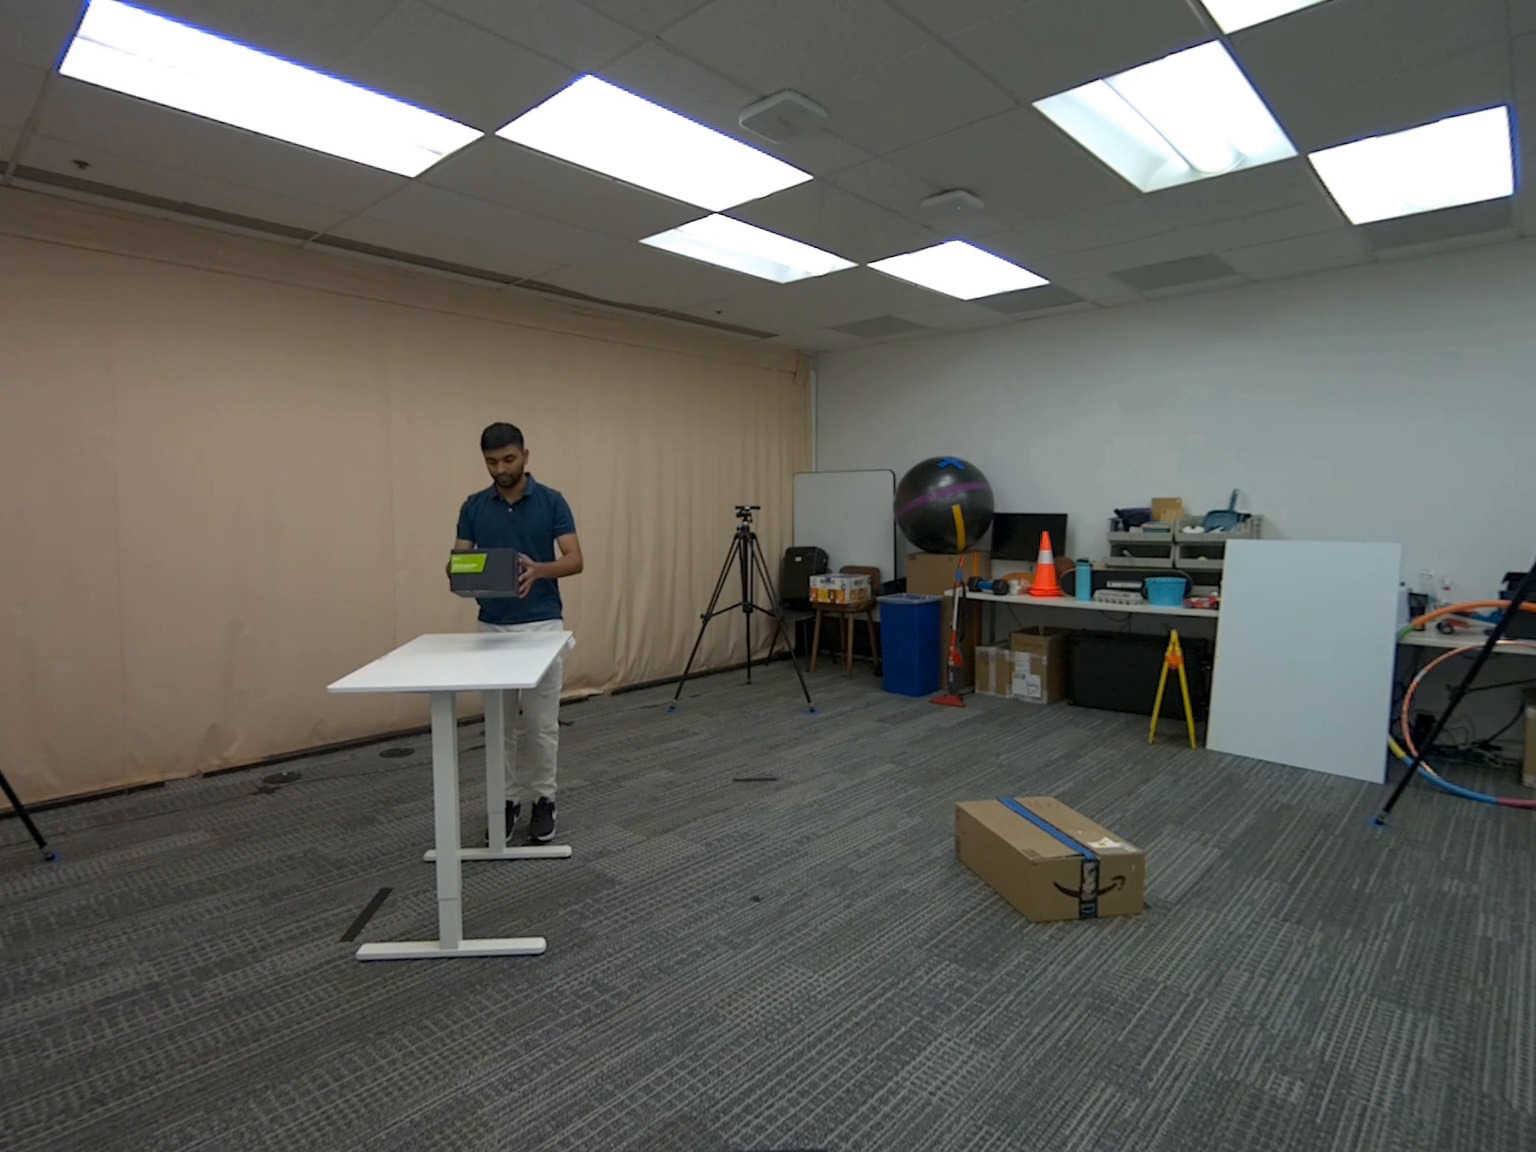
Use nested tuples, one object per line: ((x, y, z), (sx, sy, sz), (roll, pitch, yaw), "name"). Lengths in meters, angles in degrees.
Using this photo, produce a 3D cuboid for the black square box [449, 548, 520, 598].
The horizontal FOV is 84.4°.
((-1.047, -0.016, 3.145), (0.225, 0.157, 0.218), (-4, -7, -11), "black square box")
